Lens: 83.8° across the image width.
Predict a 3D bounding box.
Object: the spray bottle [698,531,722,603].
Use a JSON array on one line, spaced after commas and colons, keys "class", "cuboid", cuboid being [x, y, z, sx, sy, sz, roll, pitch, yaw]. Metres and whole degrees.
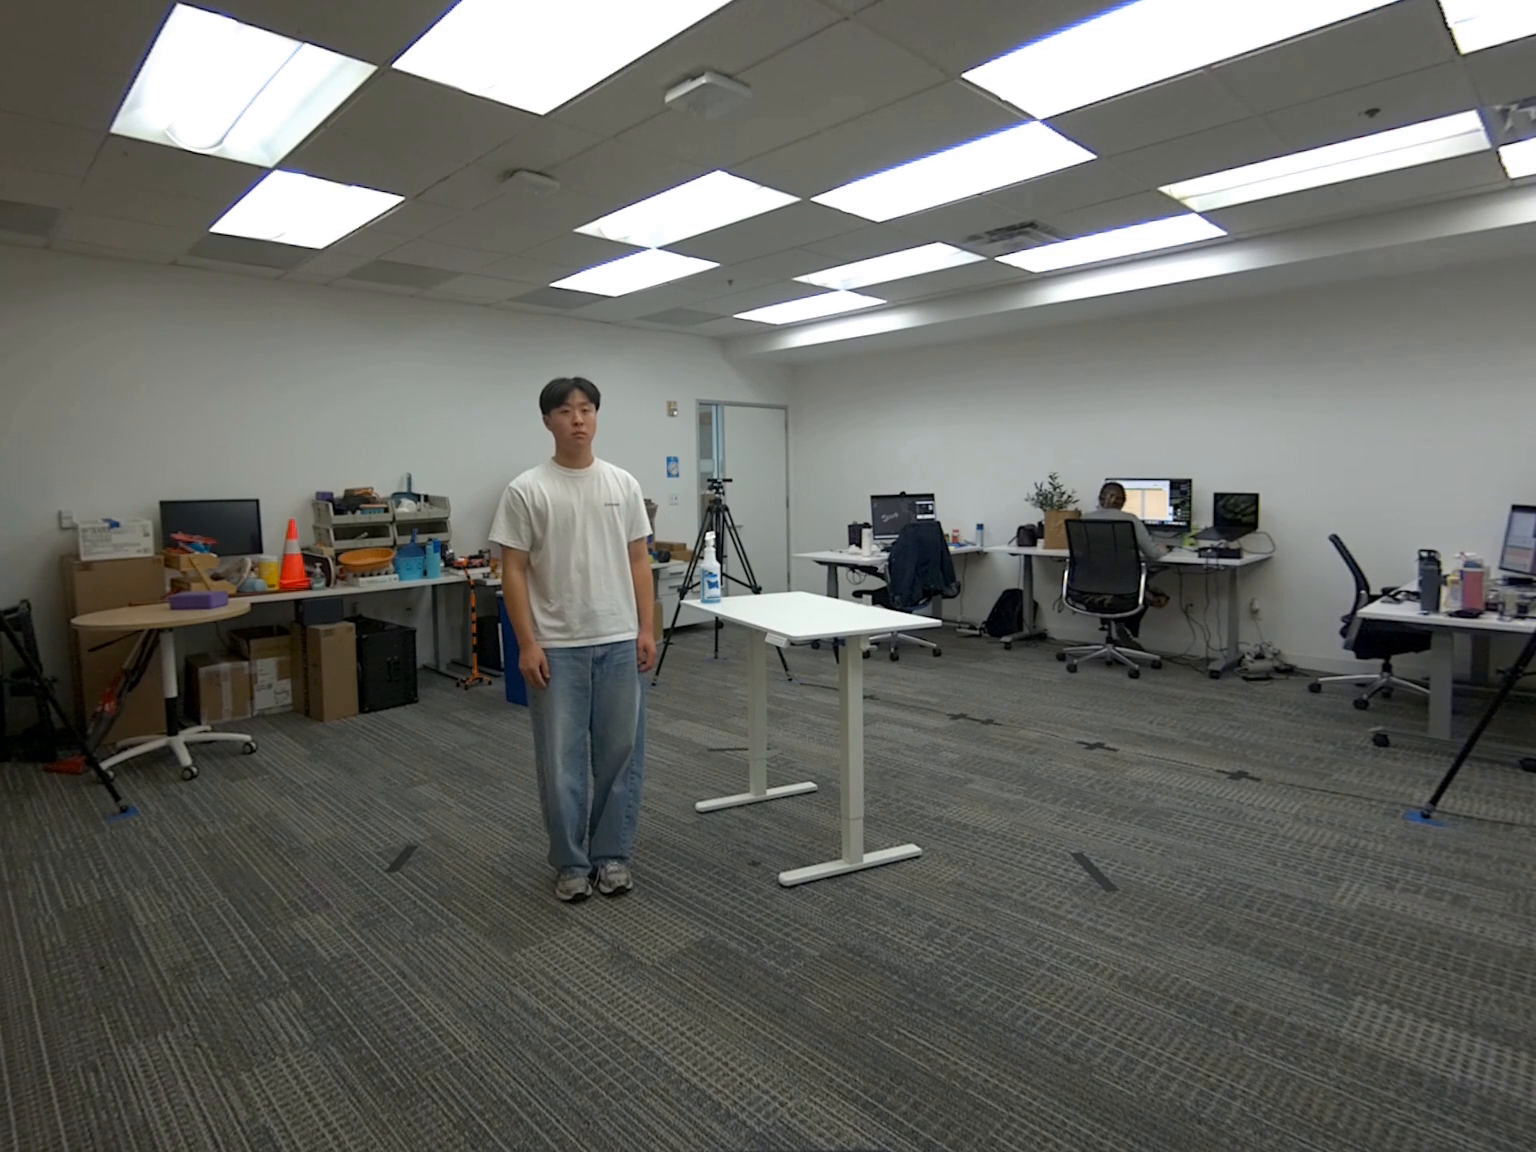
[{"class": "spray bottle", "cuboid": [-0.241, -0.035, 3.607, 0.089, 0.297, 0.087, 1, 2, 41]}]
